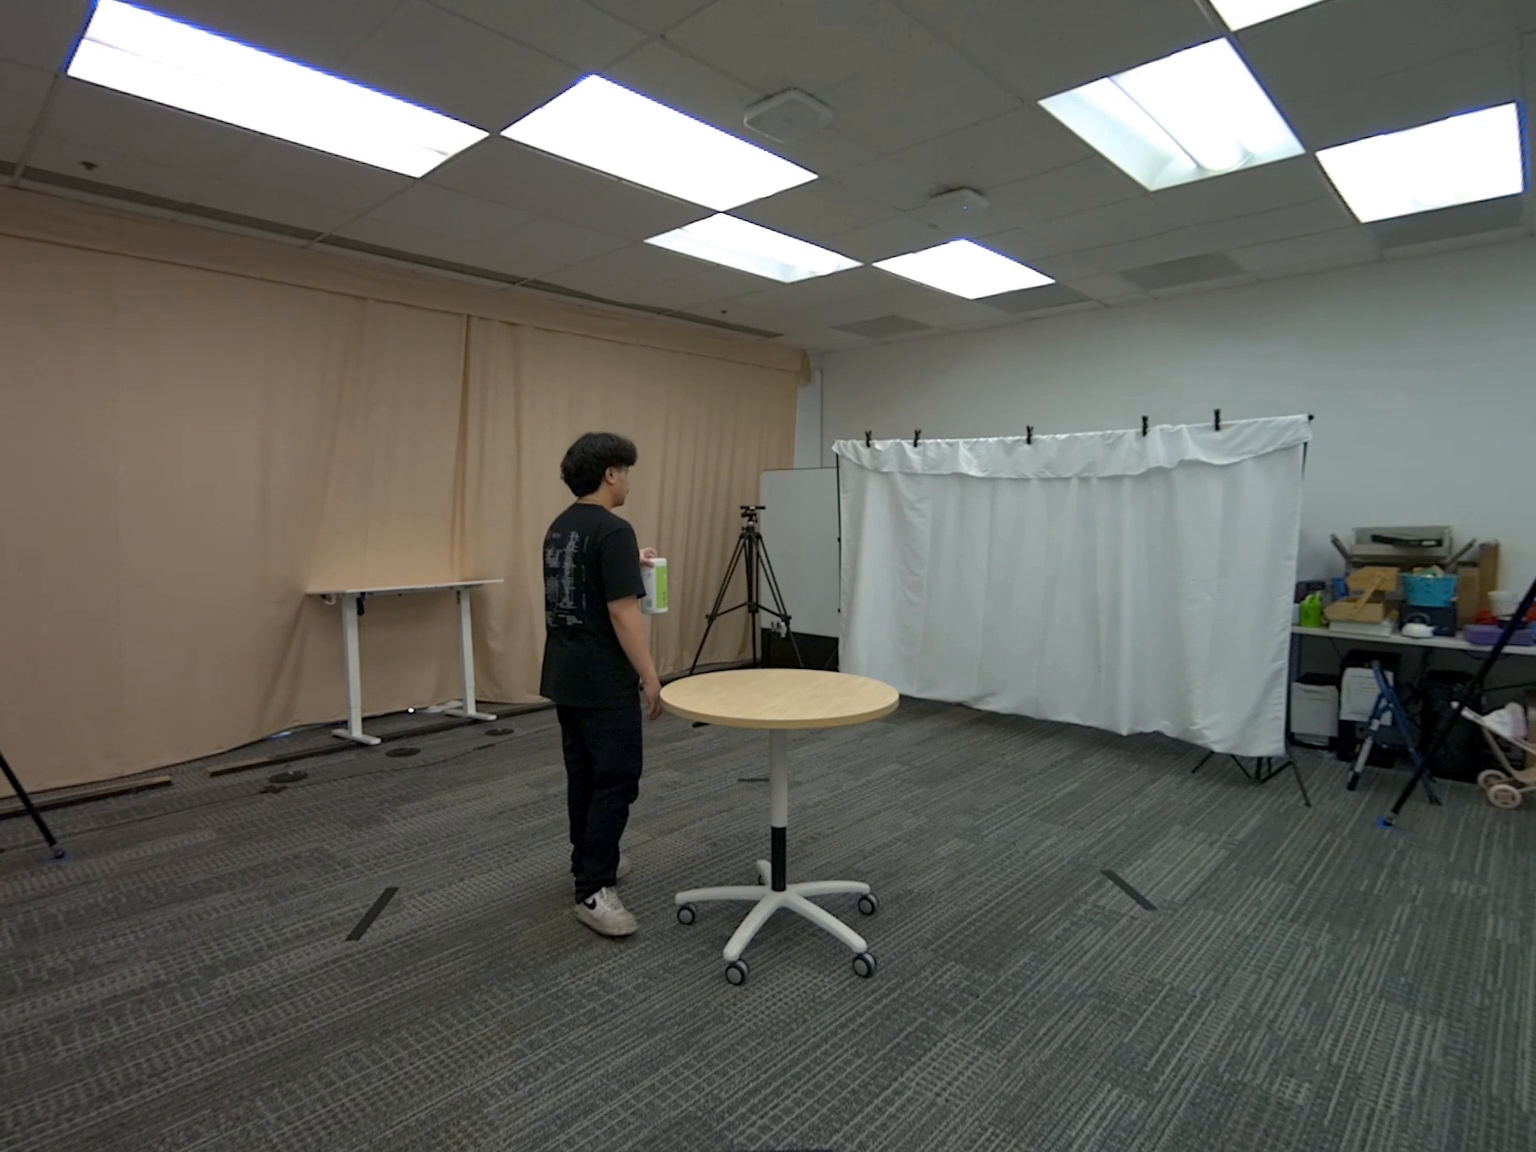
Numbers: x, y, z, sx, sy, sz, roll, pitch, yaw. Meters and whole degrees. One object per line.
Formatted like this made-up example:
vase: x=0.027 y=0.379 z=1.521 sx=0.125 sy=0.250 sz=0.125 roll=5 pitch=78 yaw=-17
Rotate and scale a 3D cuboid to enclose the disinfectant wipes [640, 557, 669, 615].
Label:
disinfectant wipes: x=-0.458 y=0.039 z=3.341 sx=0.118 sy=0.217 sz=0.118 roll=0 pitch=5 yaw=-2
